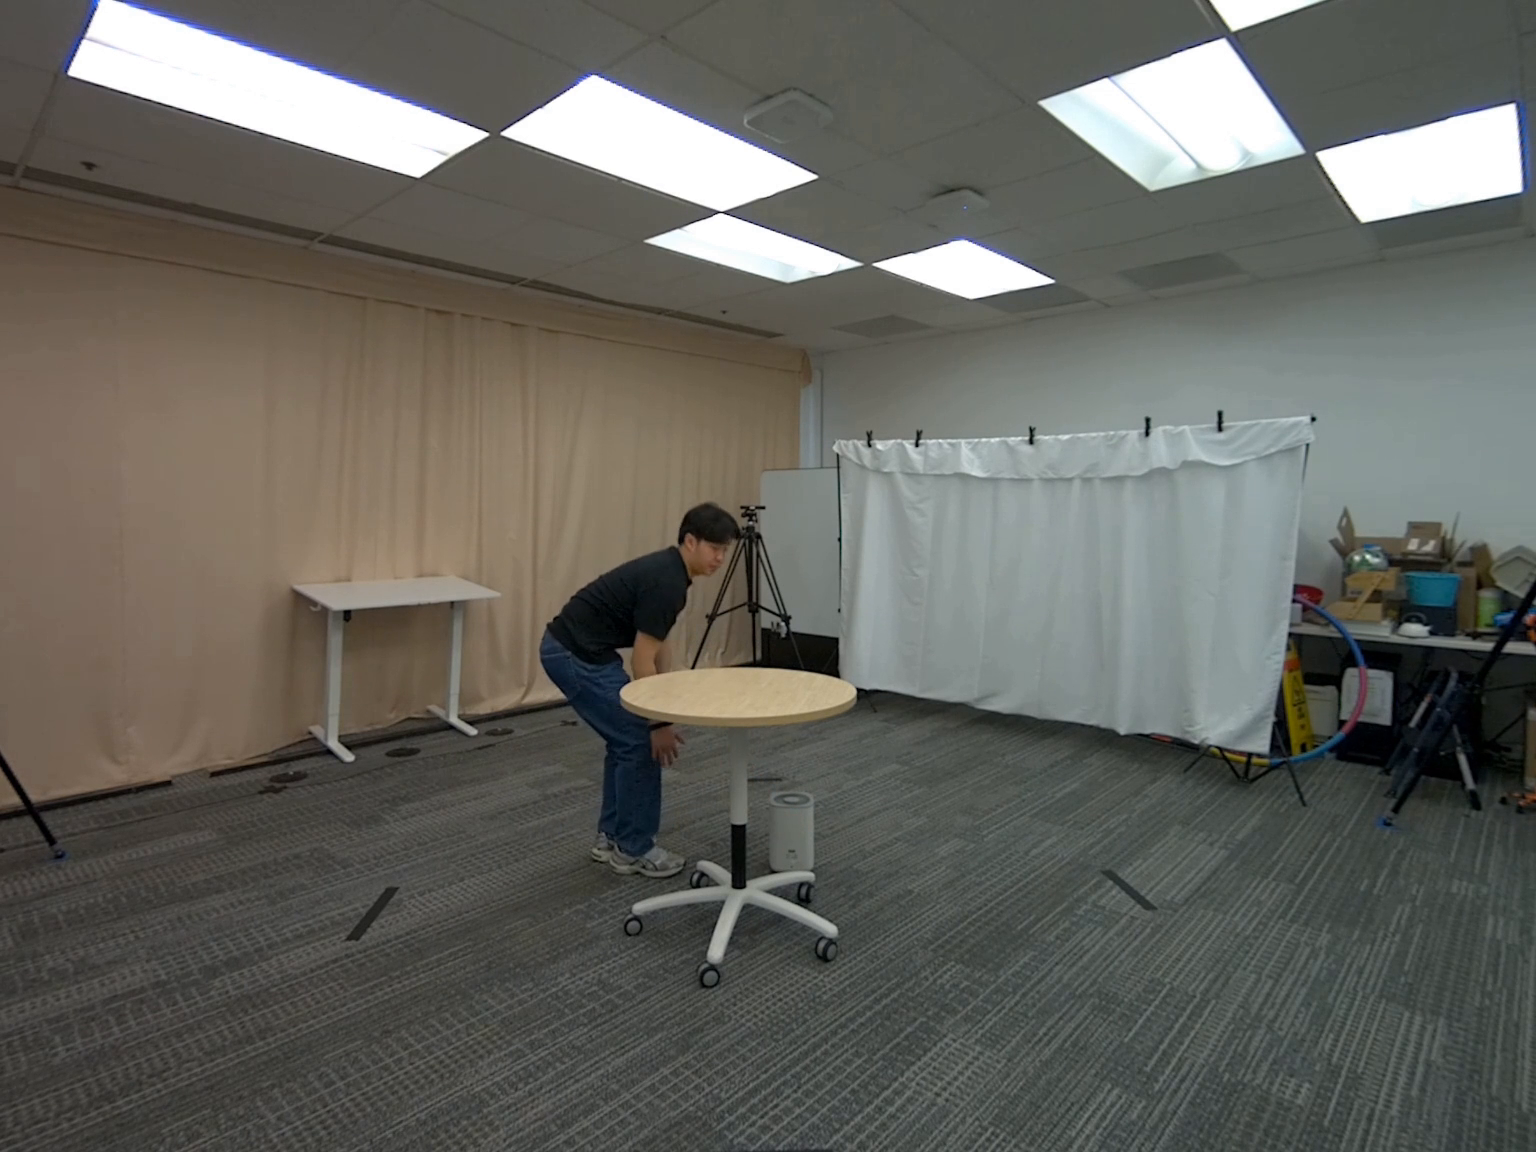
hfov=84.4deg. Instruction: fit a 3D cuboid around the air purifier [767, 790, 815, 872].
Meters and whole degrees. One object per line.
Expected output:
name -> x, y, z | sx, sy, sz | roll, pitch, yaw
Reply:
air purifier -> 0.091, 0.988, 3.242 | 0.172, 0.265, 0.171 | 1, 3, 3
